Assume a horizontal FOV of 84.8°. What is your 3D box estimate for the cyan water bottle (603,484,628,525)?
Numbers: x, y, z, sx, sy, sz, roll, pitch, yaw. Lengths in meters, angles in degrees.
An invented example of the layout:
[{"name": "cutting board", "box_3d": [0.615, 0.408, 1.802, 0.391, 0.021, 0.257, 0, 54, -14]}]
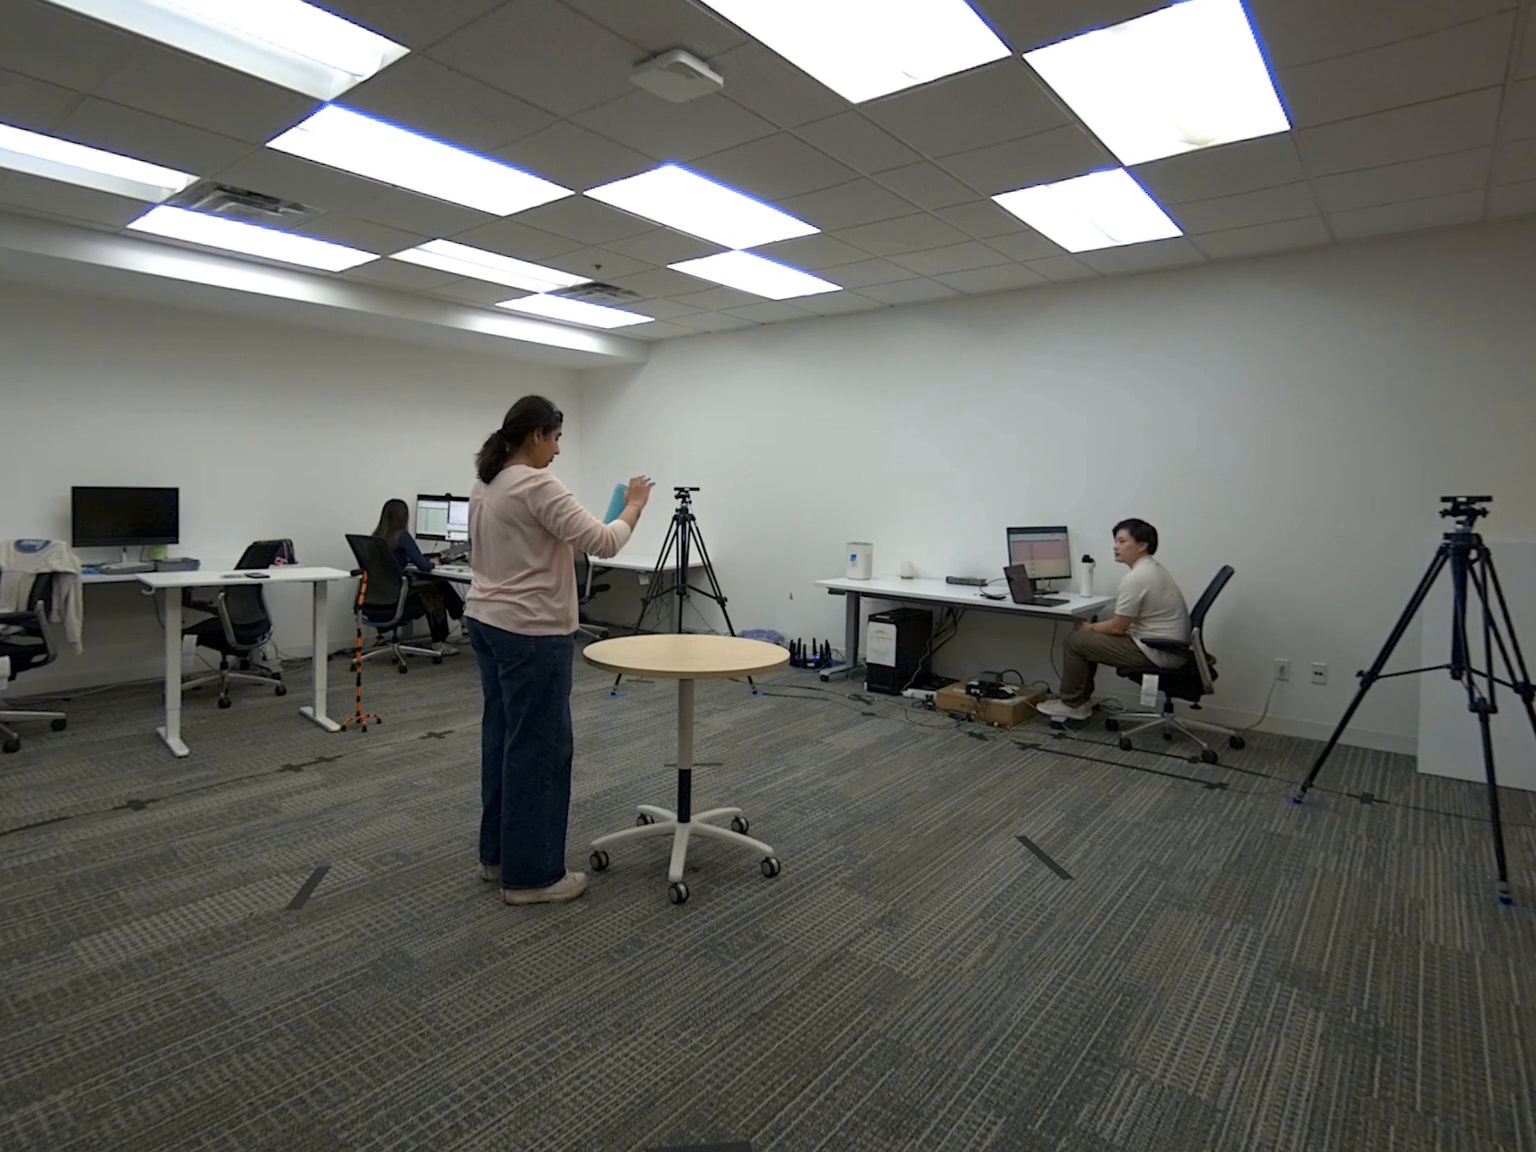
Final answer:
[{"name": "cyan water bottle", "box_3d": [-0.586, -0.199, 3.154, 0.092, 0.284, 0.092, 16, -6, -1]}]
